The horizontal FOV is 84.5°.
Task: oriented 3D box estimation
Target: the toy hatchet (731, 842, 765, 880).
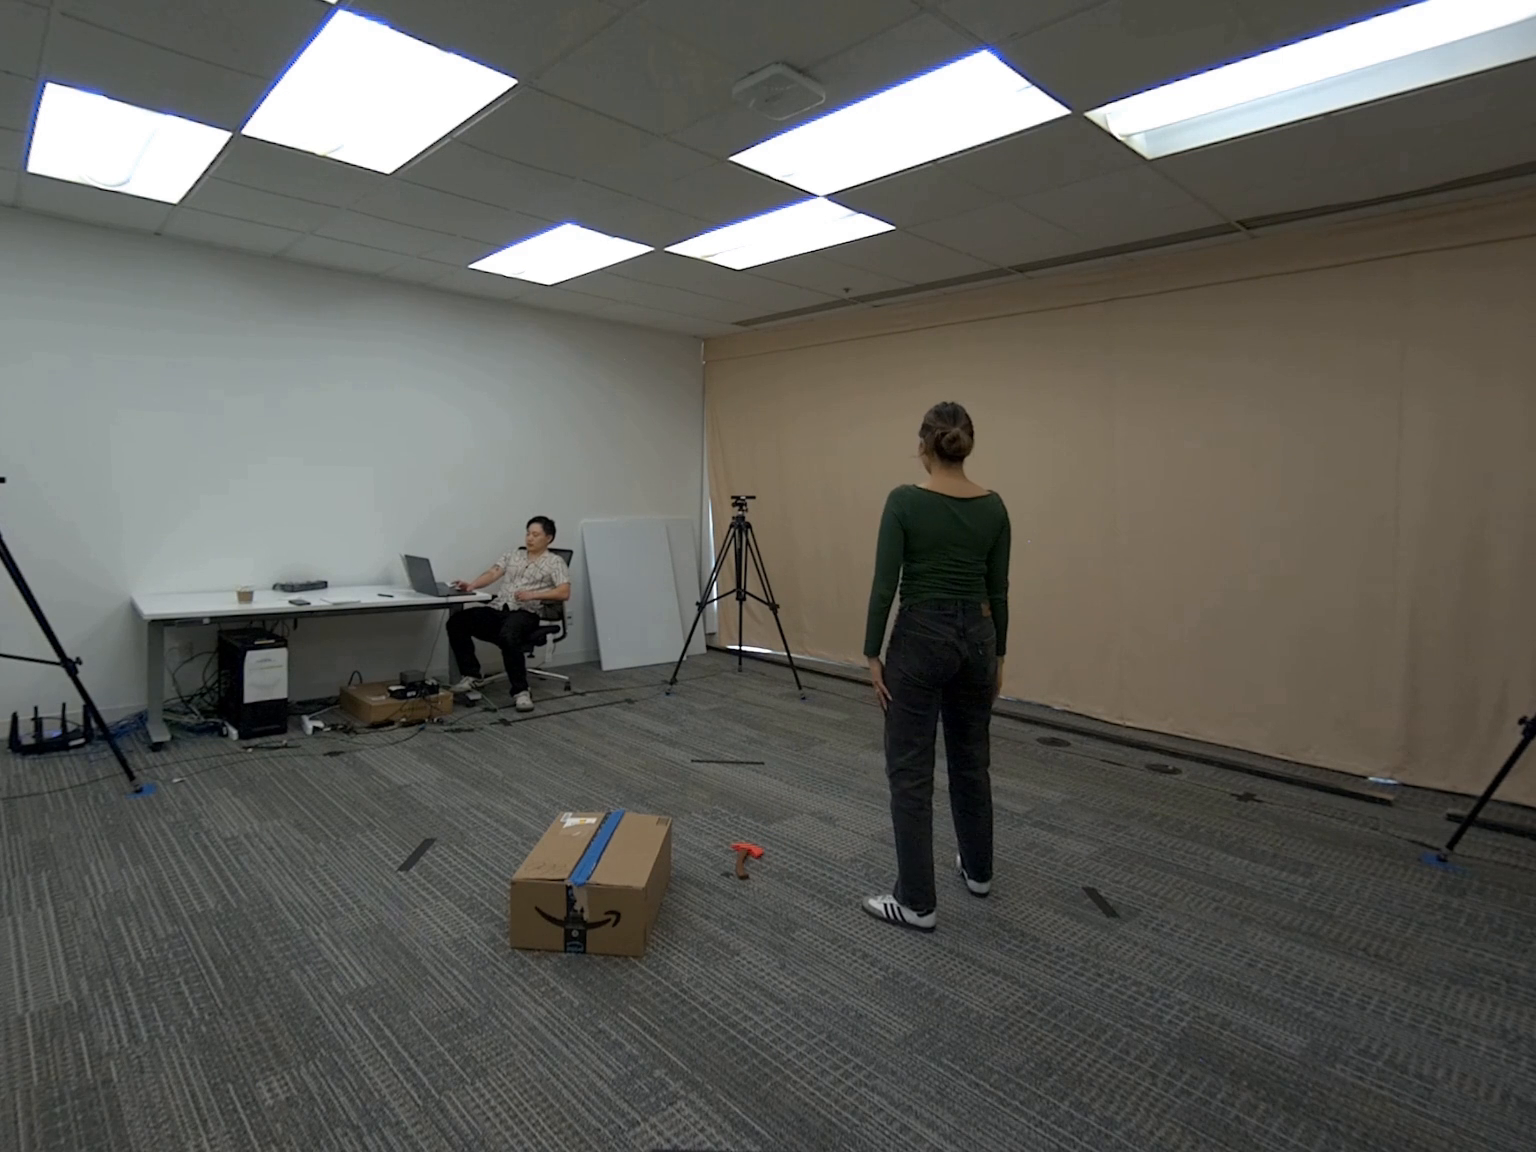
[{"bbox_3d":[-0.070,1.081,3.197,0.130,0.029,0.273,4,7,-11],"label":"toy hatchet"}]
